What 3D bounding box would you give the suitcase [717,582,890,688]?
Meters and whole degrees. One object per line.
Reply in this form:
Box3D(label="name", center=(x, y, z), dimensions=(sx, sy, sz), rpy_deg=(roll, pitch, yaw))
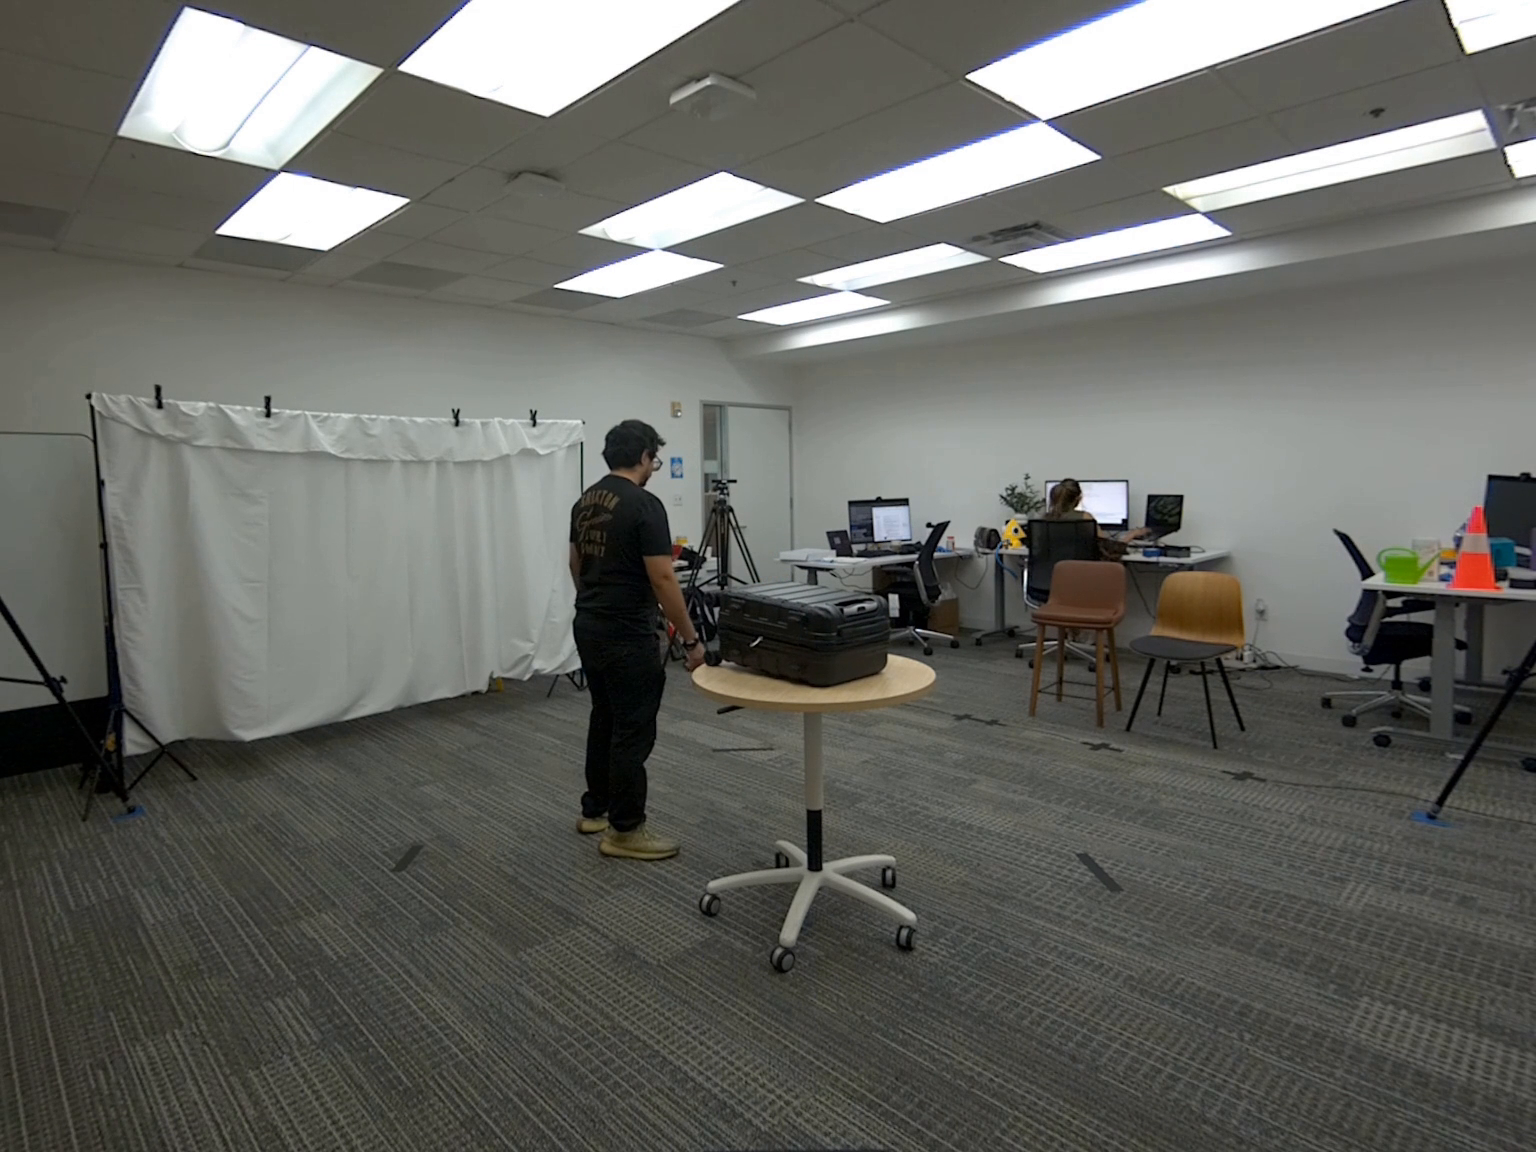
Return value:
Box3D(label="suitcase", center=(0.103, 0.177, 2.757), dimensions=(0.365, 0.247, 0.567), rpy_deg=(-5, 8, -43))
